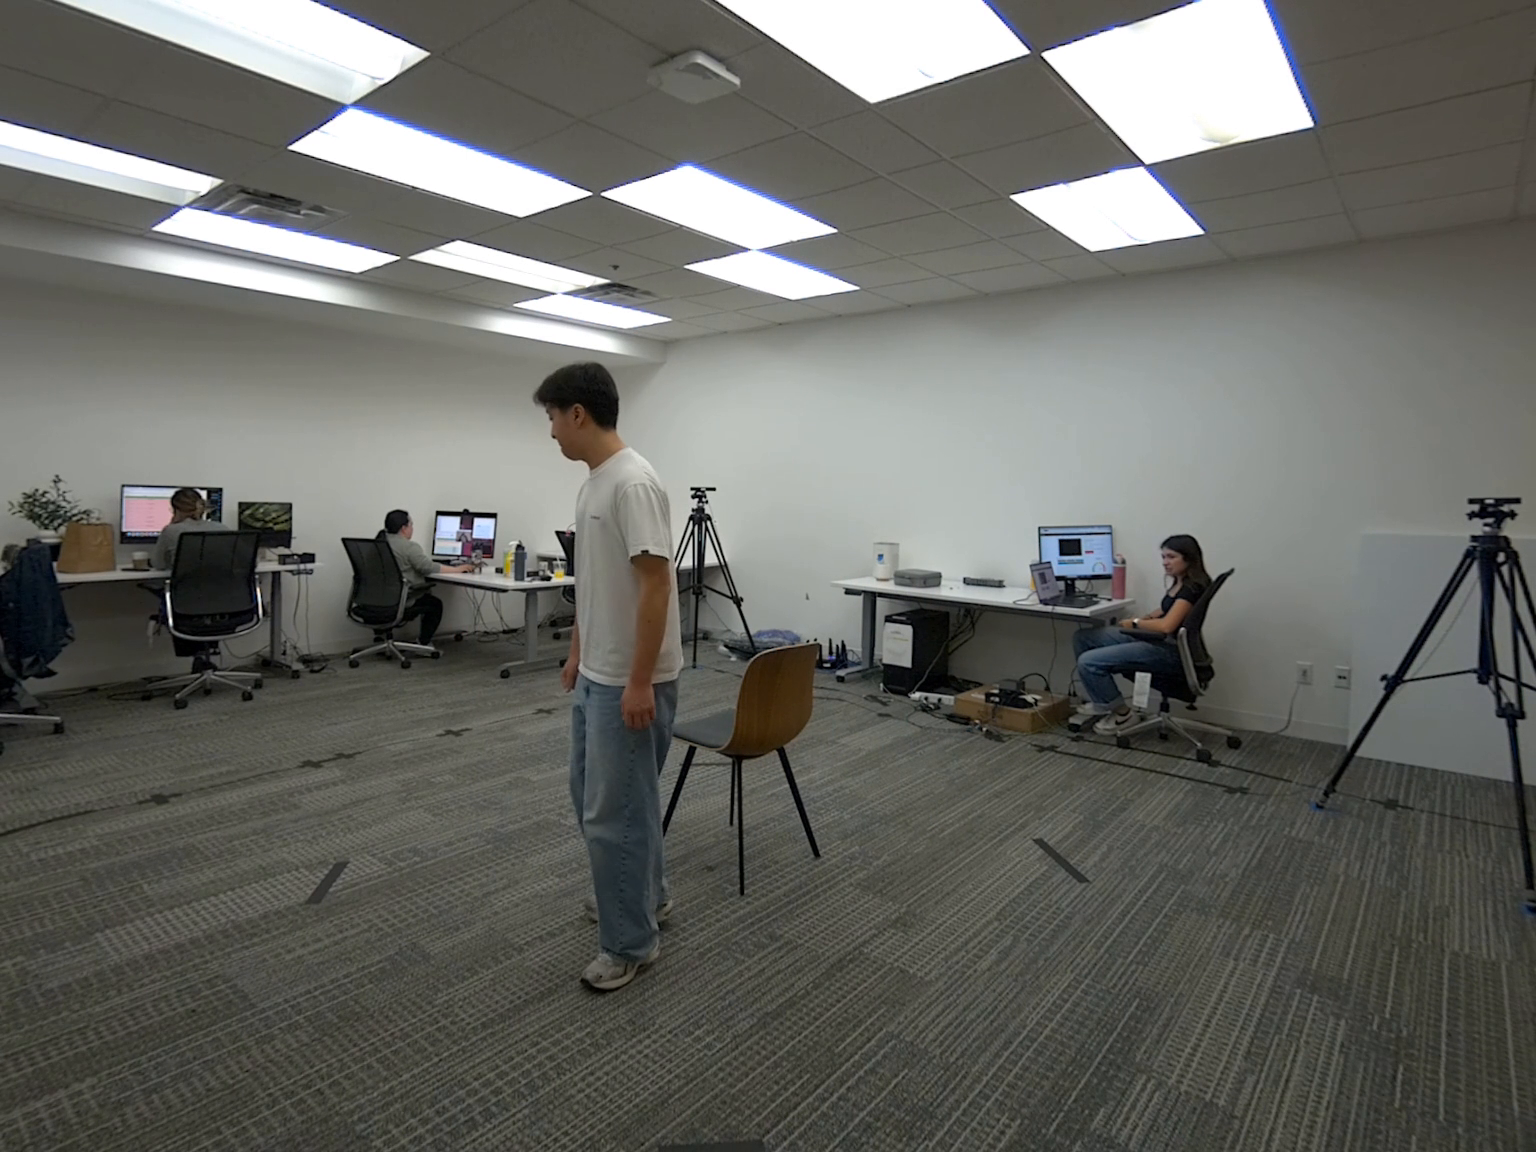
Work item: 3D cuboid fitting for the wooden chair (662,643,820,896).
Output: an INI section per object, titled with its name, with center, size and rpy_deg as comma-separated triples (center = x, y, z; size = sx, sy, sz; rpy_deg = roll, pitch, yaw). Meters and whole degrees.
[wooden chair]
center = -0.123, 0.633, 3.194
size = 0.542, 0.873, 0.463
rpy_deg = 10, 8, 41
